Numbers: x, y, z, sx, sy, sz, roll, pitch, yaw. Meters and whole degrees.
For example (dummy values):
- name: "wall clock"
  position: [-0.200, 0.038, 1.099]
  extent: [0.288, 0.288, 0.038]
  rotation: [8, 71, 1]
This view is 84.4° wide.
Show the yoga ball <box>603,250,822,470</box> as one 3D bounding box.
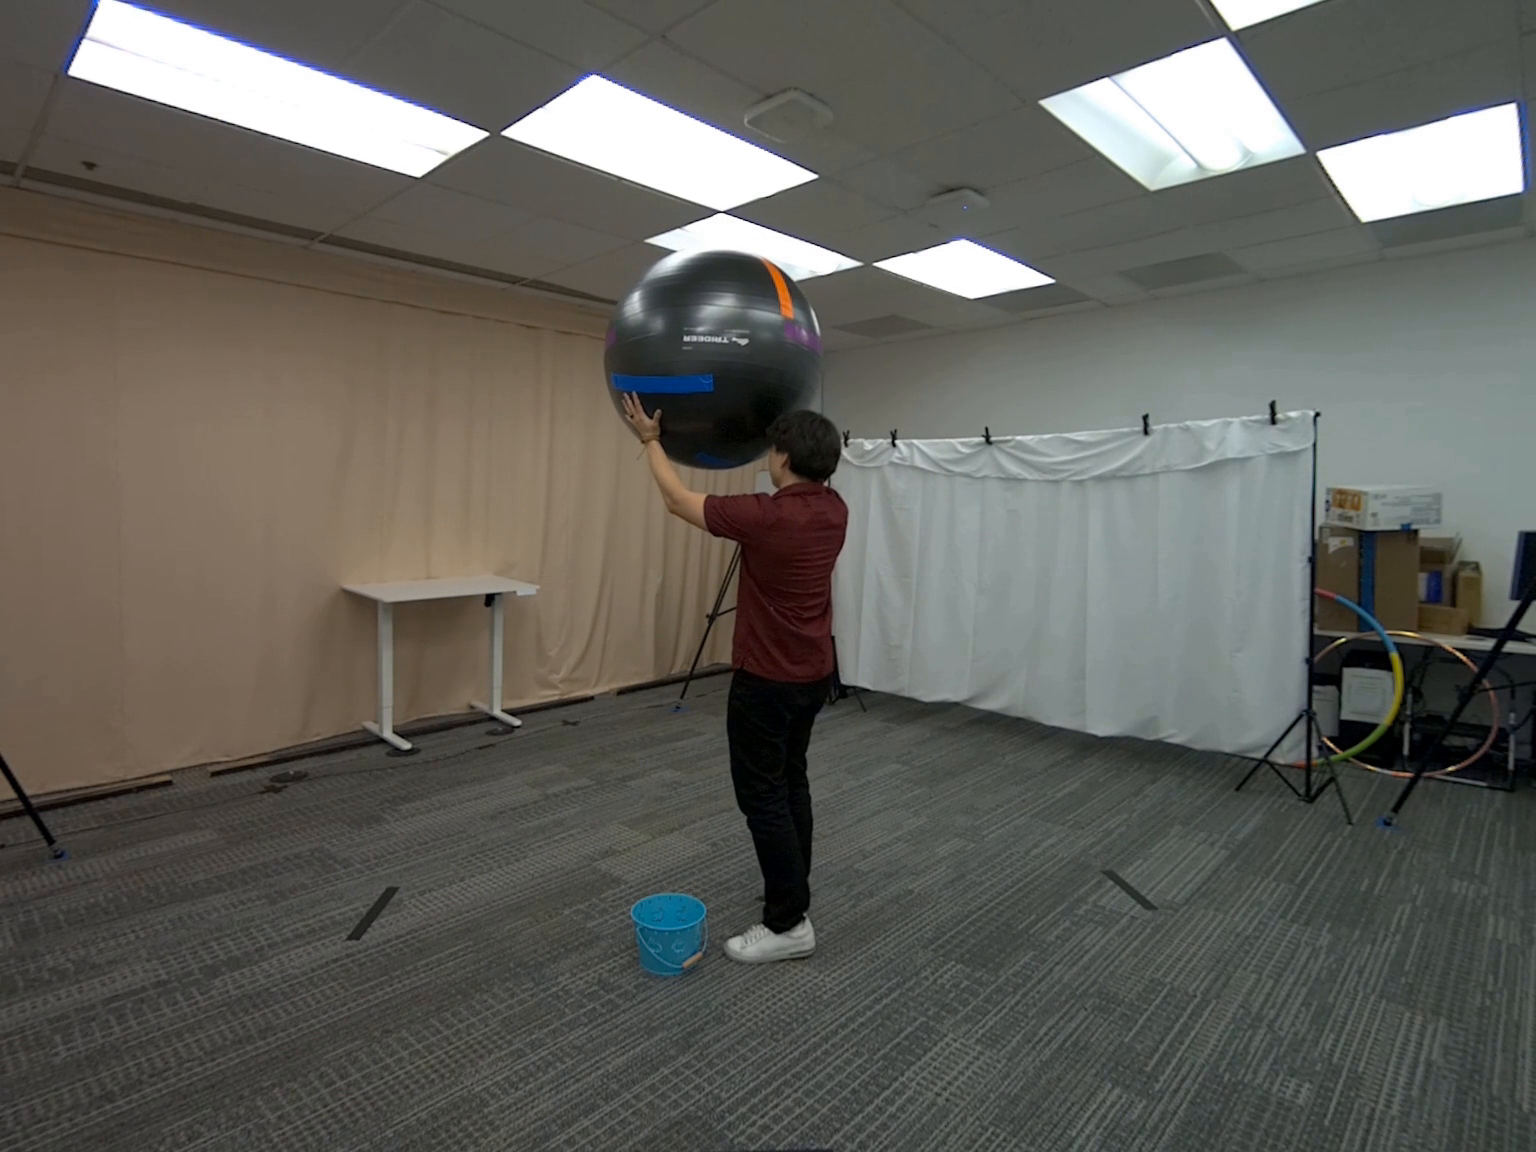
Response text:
- name: "yoga ball"
  position: [-0.191, -0.747, 2.928]
  extent: [0.757, 0.756, 0.760]
  rotation: [0, 4, -2]
